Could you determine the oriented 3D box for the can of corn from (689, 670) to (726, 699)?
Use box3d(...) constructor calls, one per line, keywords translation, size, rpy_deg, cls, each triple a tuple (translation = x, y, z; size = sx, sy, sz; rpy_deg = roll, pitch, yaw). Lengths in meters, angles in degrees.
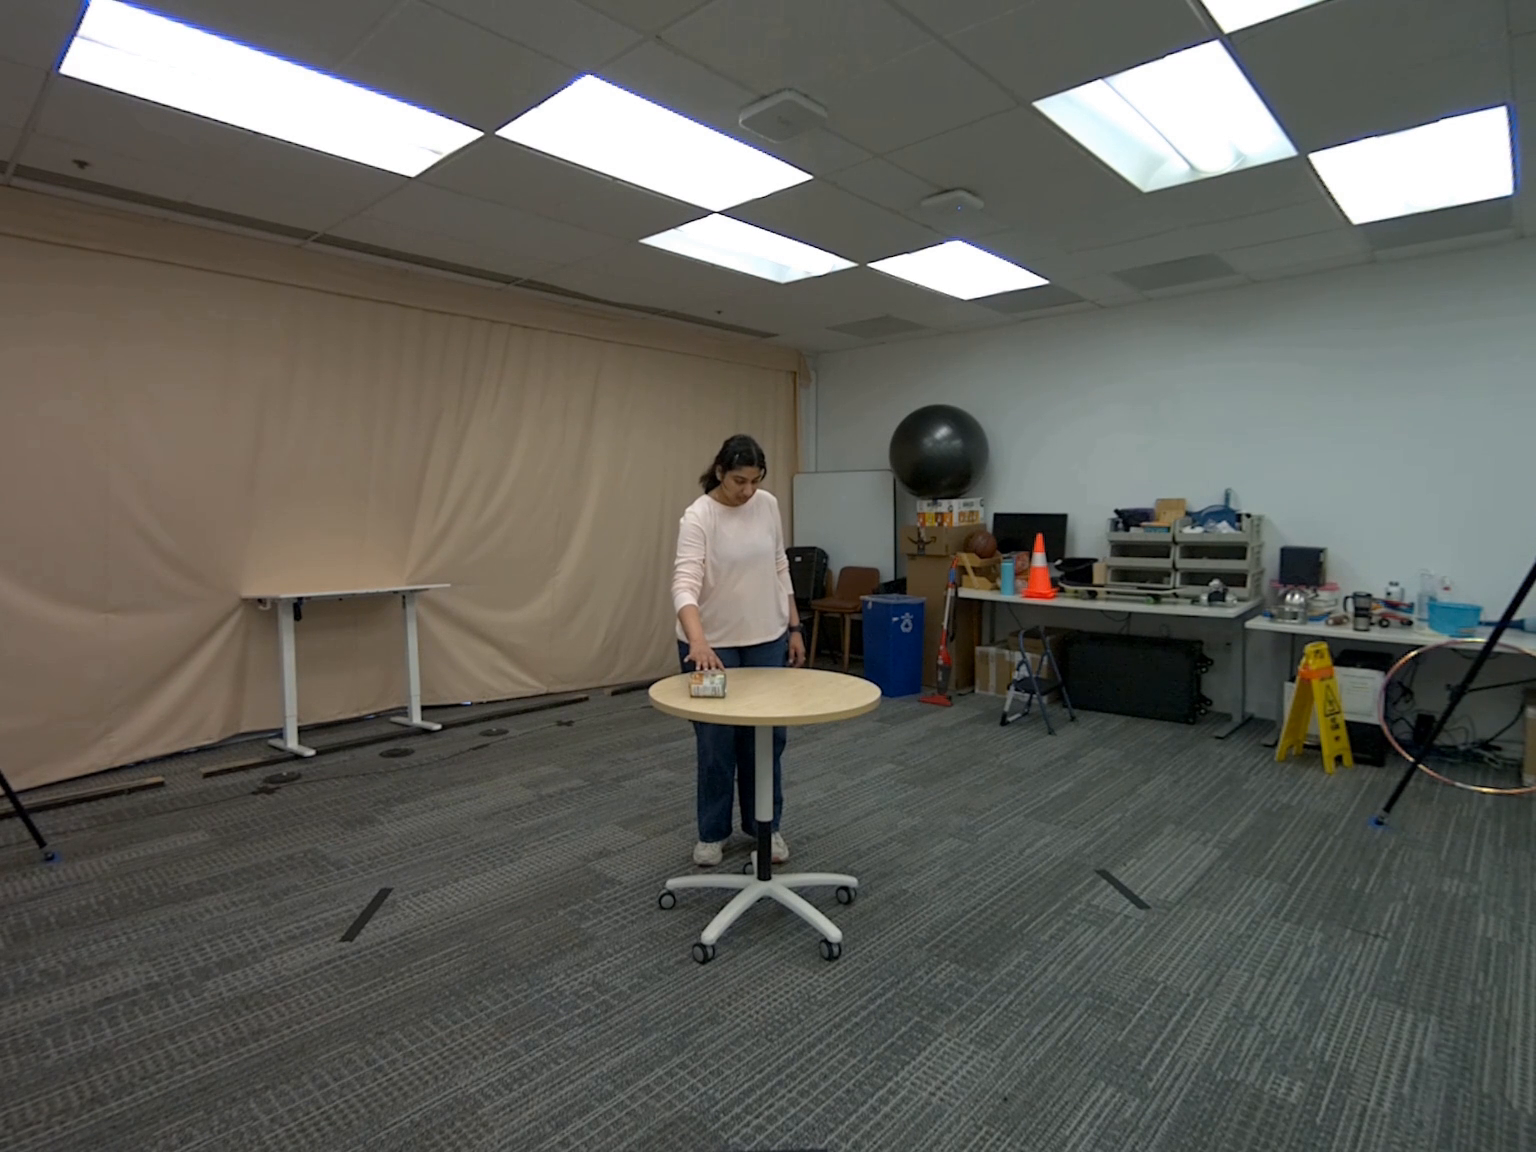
box3d(translation=(-0.195, 0.346, 2.687), size=(0.112, 0.074, 0.074), rpy_deg=(-3, 4, 5), cls="can of corn")
